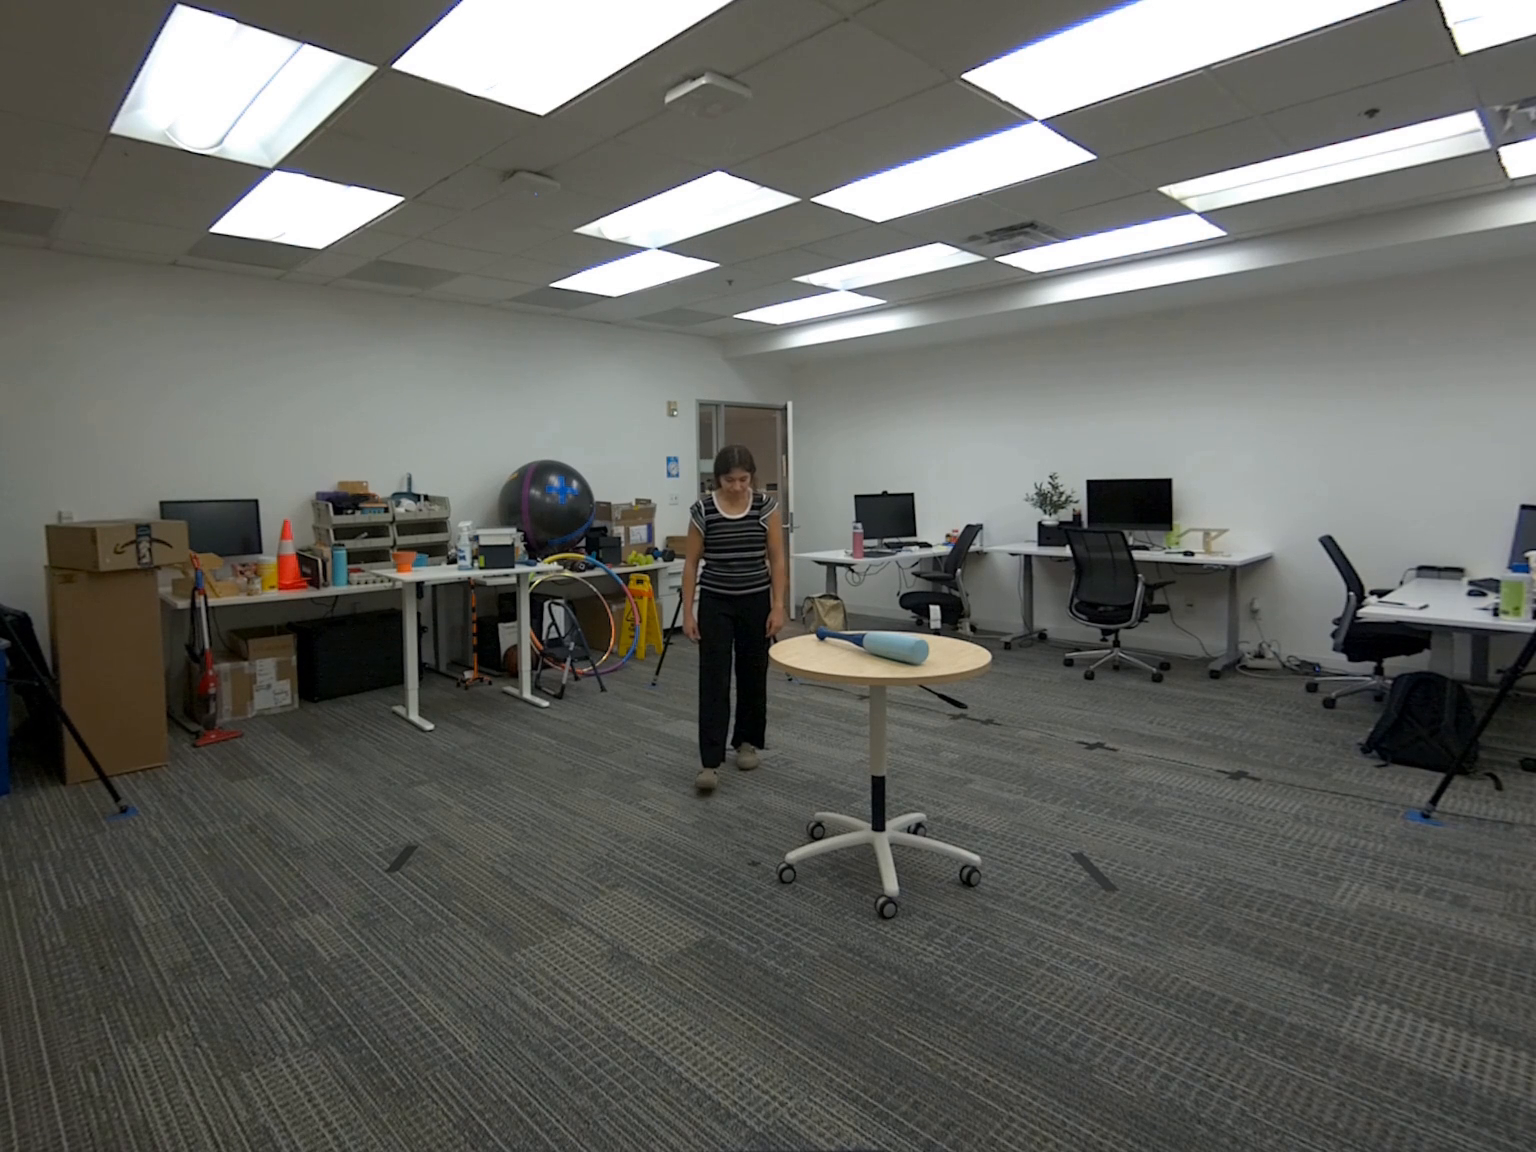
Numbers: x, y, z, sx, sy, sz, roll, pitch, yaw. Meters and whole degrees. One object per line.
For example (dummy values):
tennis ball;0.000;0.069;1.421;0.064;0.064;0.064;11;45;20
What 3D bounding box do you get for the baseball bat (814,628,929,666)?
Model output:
baseball bat;0.349;0.232;2.995;0.087;0.089;0.558;-4;5;-32
